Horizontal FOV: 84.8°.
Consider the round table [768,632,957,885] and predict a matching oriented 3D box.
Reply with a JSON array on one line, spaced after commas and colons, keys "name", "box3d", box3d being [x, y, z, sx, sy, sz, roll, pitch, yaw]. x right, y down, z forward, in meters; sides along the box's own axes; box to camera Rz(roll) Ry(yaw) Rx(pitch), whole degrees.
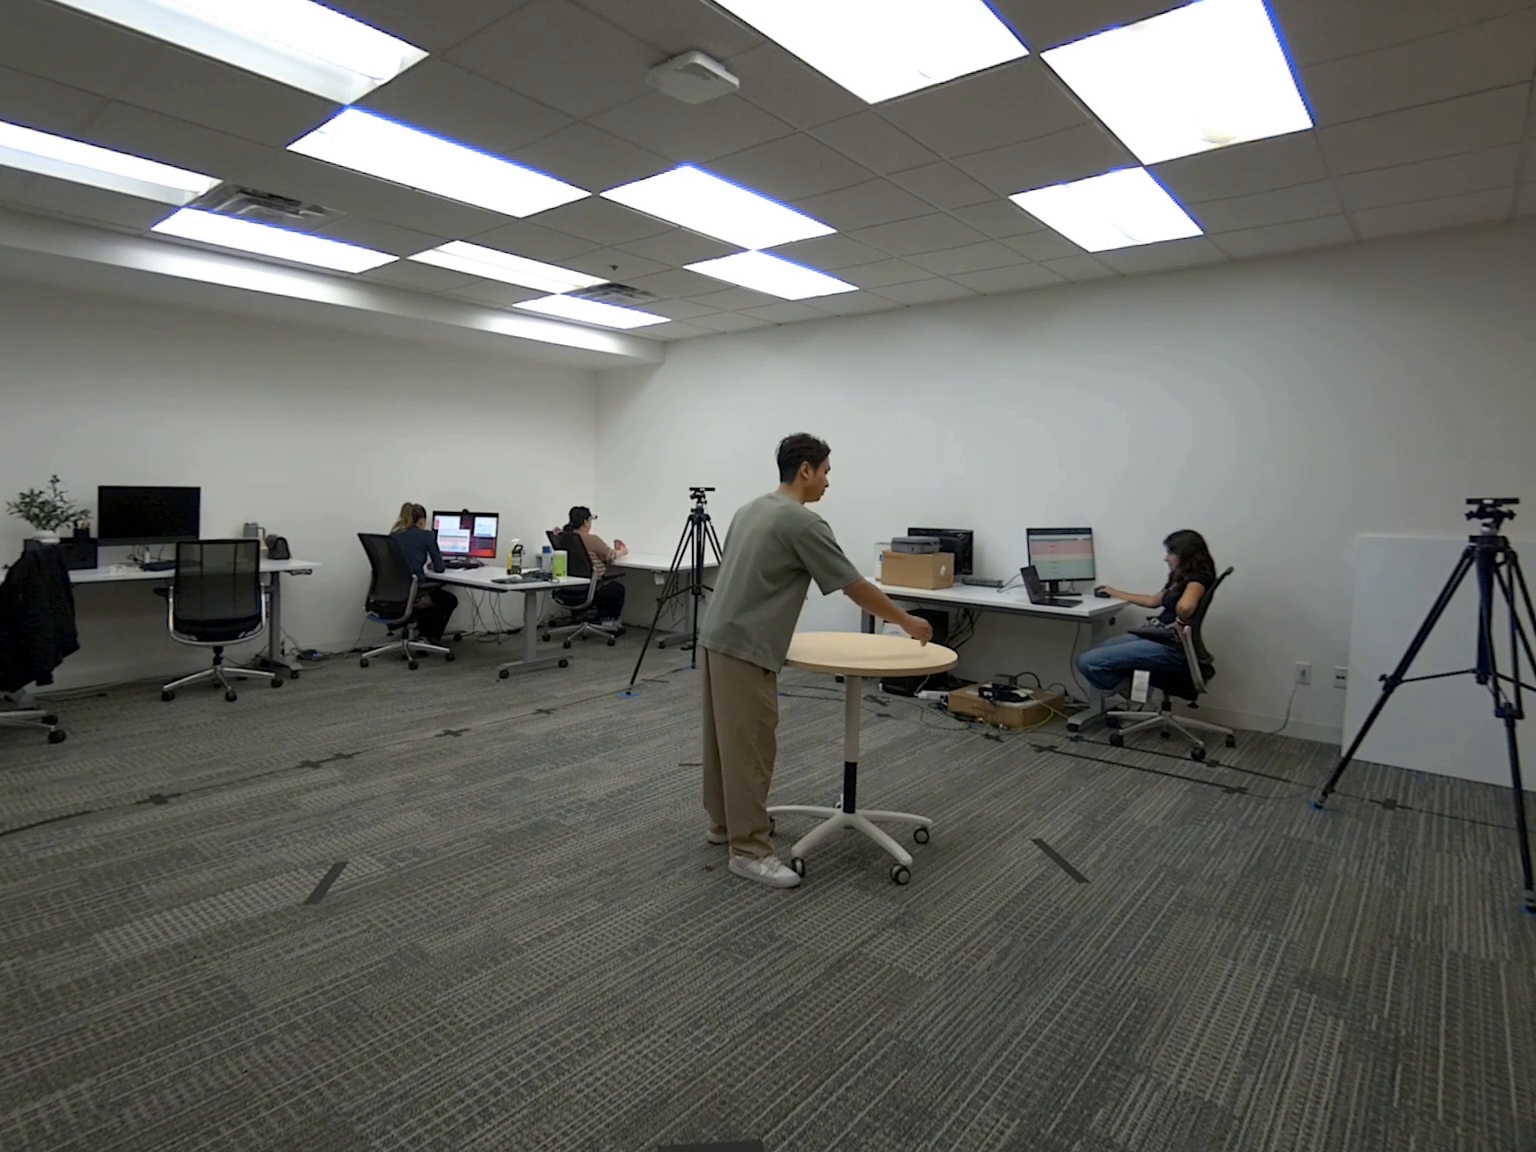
[{"name": "round table", "box3d": [0.320, 0.667, 3.317, 0.784, 0.784, 0.789, 2, 4, -2]}]
